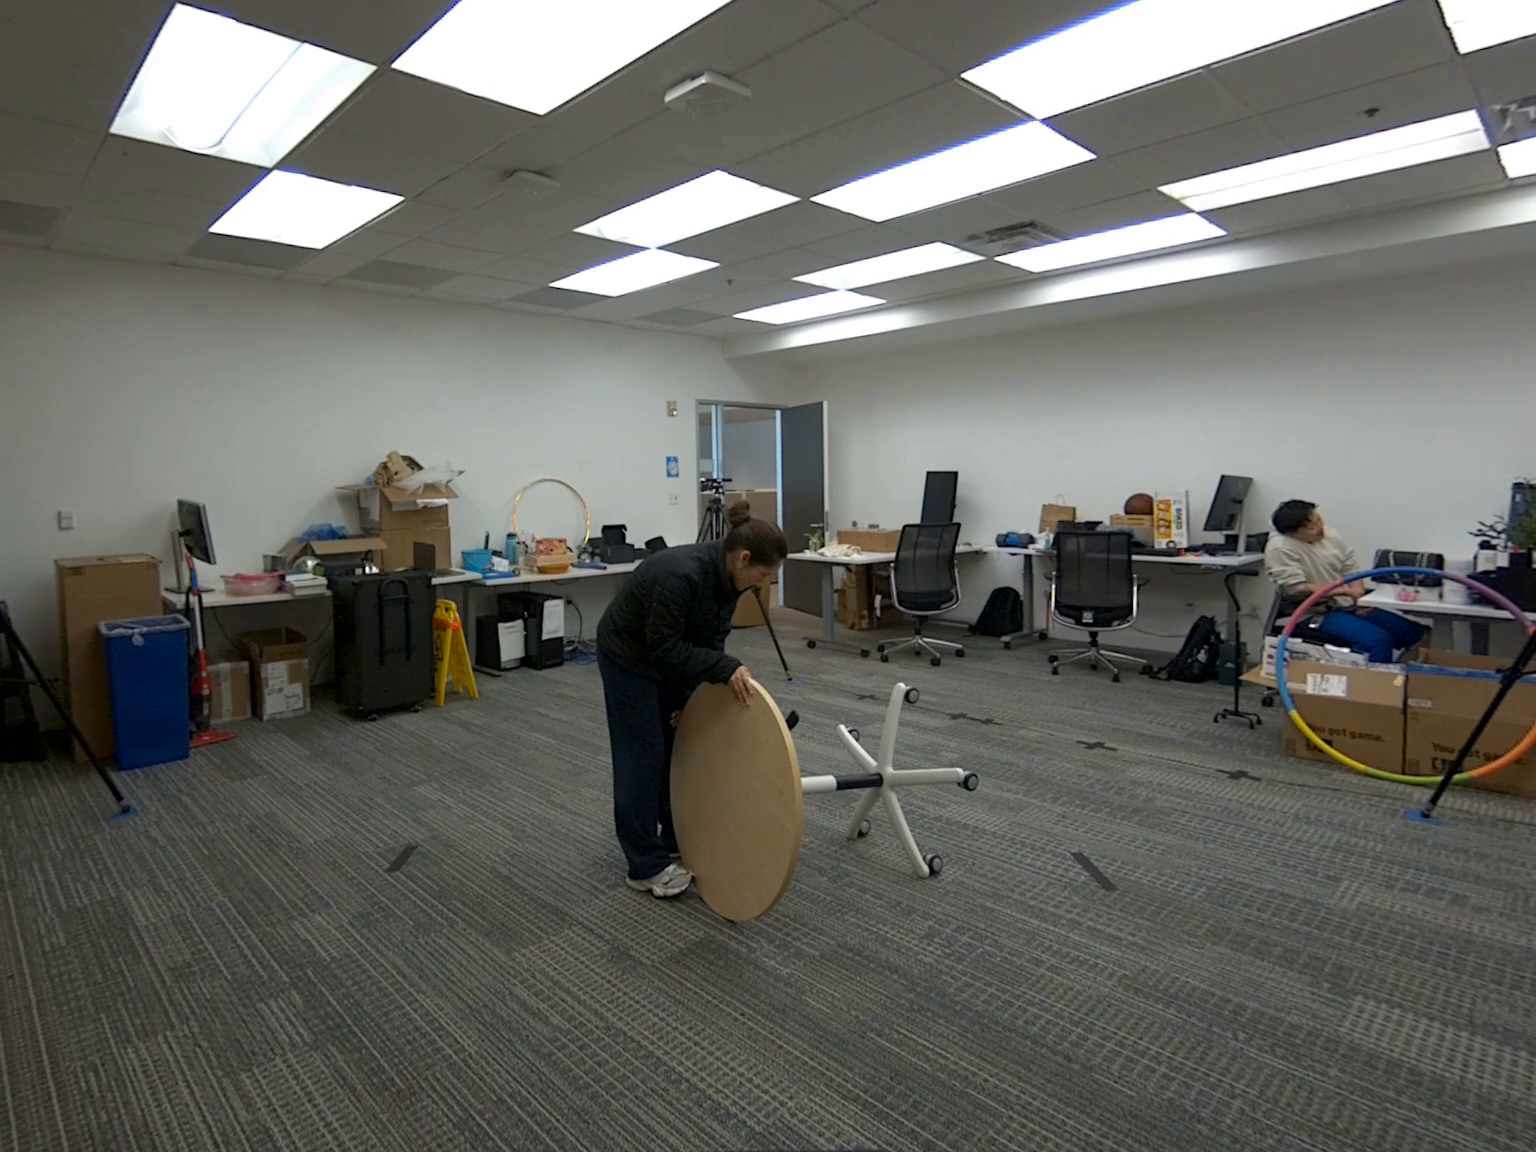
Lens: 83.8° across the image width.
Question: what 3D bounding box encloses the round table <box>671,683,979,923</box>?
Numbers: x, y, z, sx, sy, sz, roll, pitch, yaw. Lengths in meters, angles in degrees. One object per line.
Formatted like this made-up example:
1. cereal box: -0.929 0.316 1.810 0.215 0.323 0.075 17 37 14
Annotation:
1. round table: 0.185 0.720 2.988 0.764 0.785 0.808 4 1 -36
